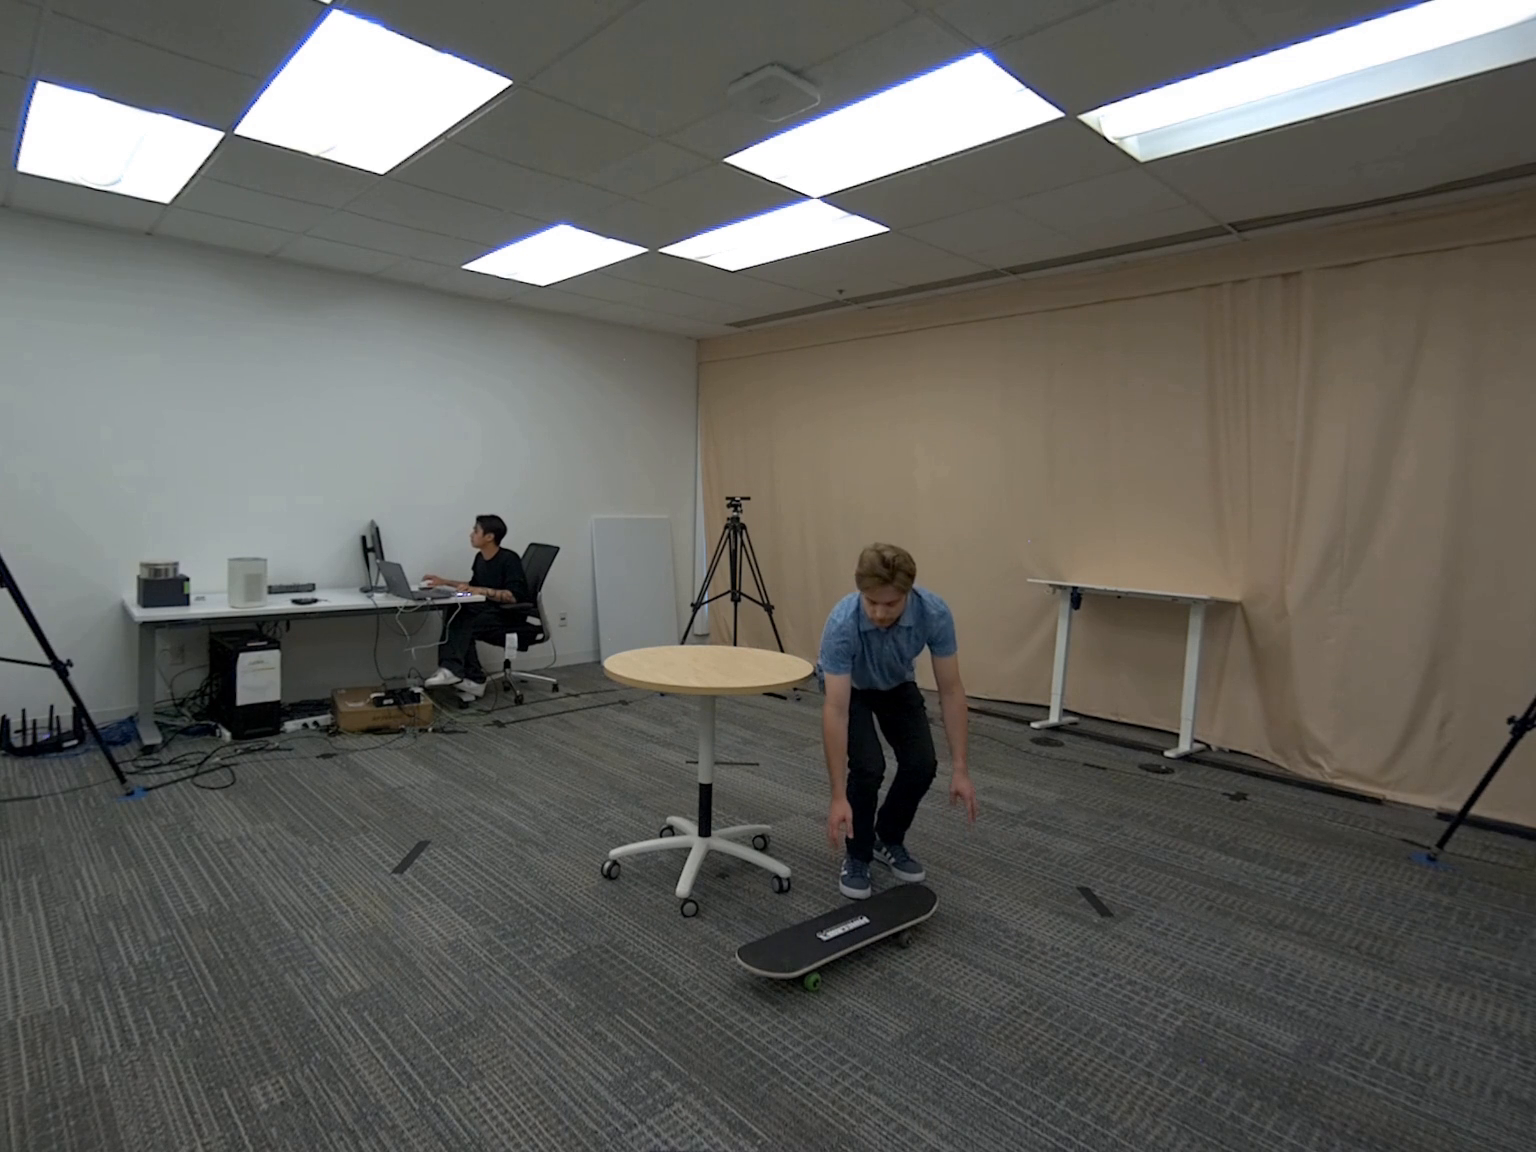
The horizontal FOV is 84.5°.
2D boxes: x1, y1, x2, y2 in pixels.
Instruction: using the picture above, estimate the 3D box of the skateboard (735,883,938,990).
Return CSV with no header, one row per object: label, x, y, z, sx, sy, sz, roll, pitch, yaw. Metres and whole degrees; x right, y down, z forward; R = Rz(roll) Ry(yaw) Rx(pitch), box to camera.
skateboard,0.230,1.108,2.568,0.768,0.110,0.198,-2,6,-38
